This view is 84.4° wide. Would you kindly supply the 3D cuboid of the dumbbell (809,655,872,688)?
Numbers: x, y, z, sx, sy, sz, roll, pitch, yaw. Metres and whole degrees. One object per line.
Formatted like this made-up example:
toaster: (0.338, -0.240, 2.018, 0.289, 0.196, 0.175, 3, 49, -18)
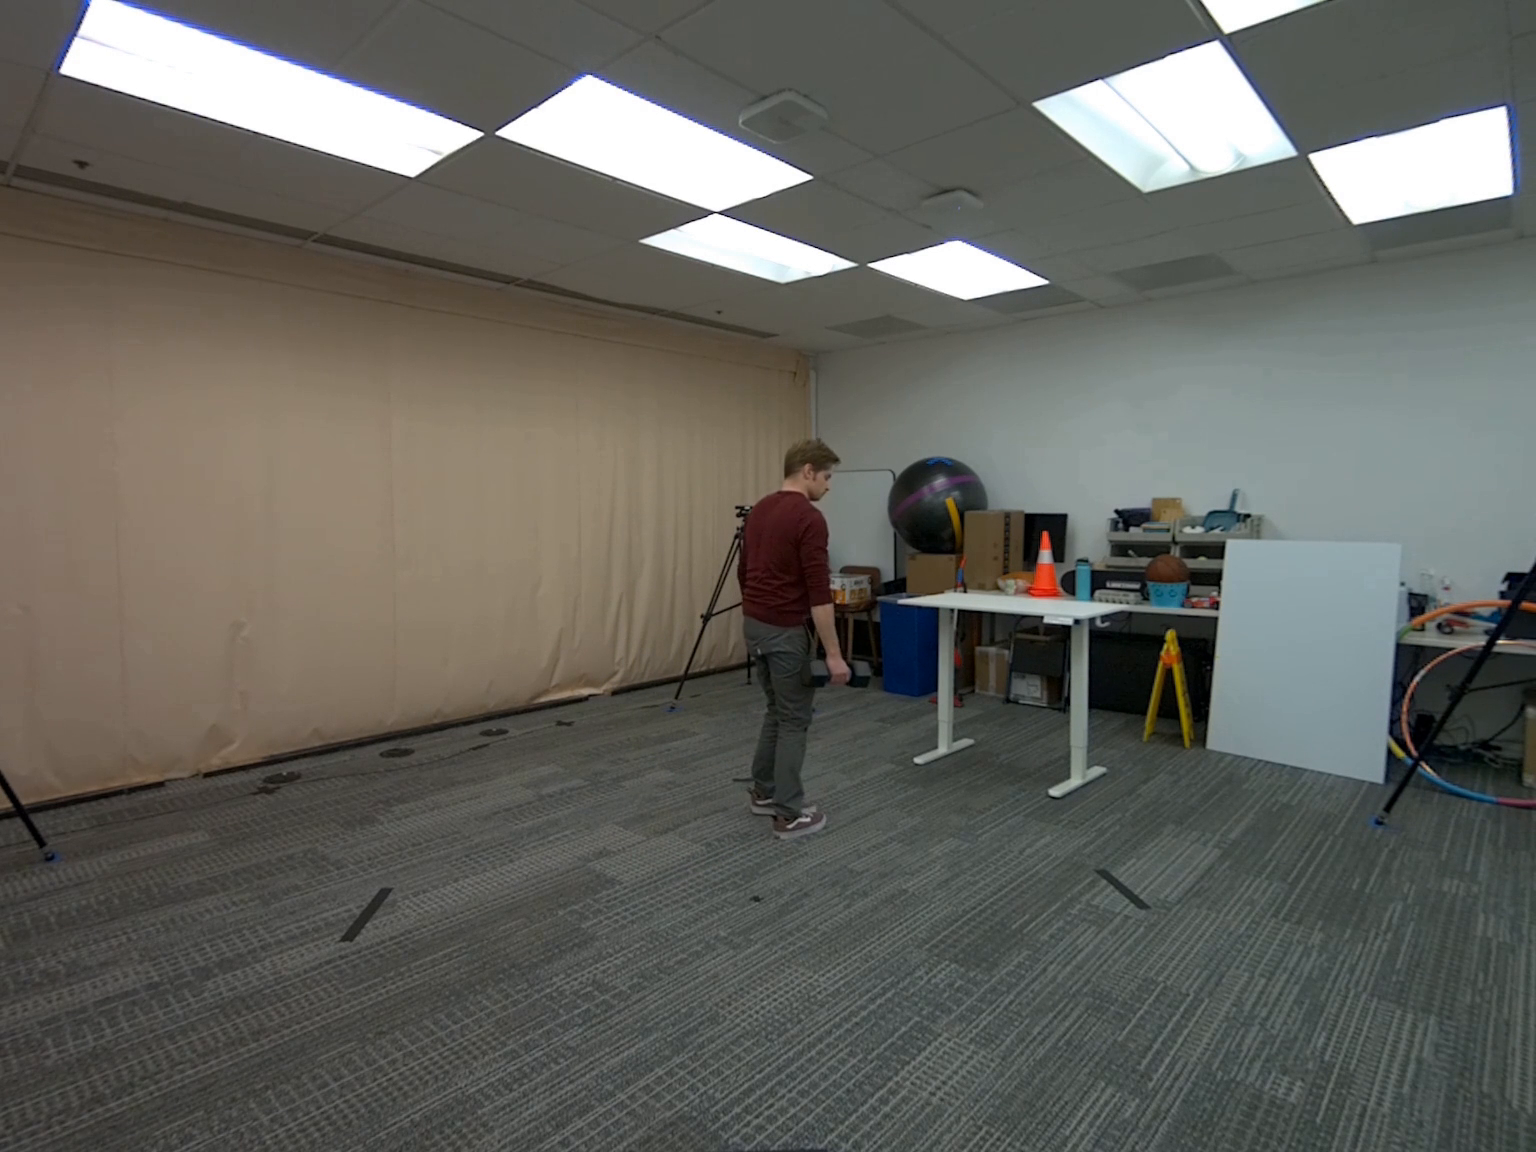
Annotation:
dumbbell: (0.278, 0.406, 3.478, 0.287, 0.122, 0.112, 2, 35, -22)
